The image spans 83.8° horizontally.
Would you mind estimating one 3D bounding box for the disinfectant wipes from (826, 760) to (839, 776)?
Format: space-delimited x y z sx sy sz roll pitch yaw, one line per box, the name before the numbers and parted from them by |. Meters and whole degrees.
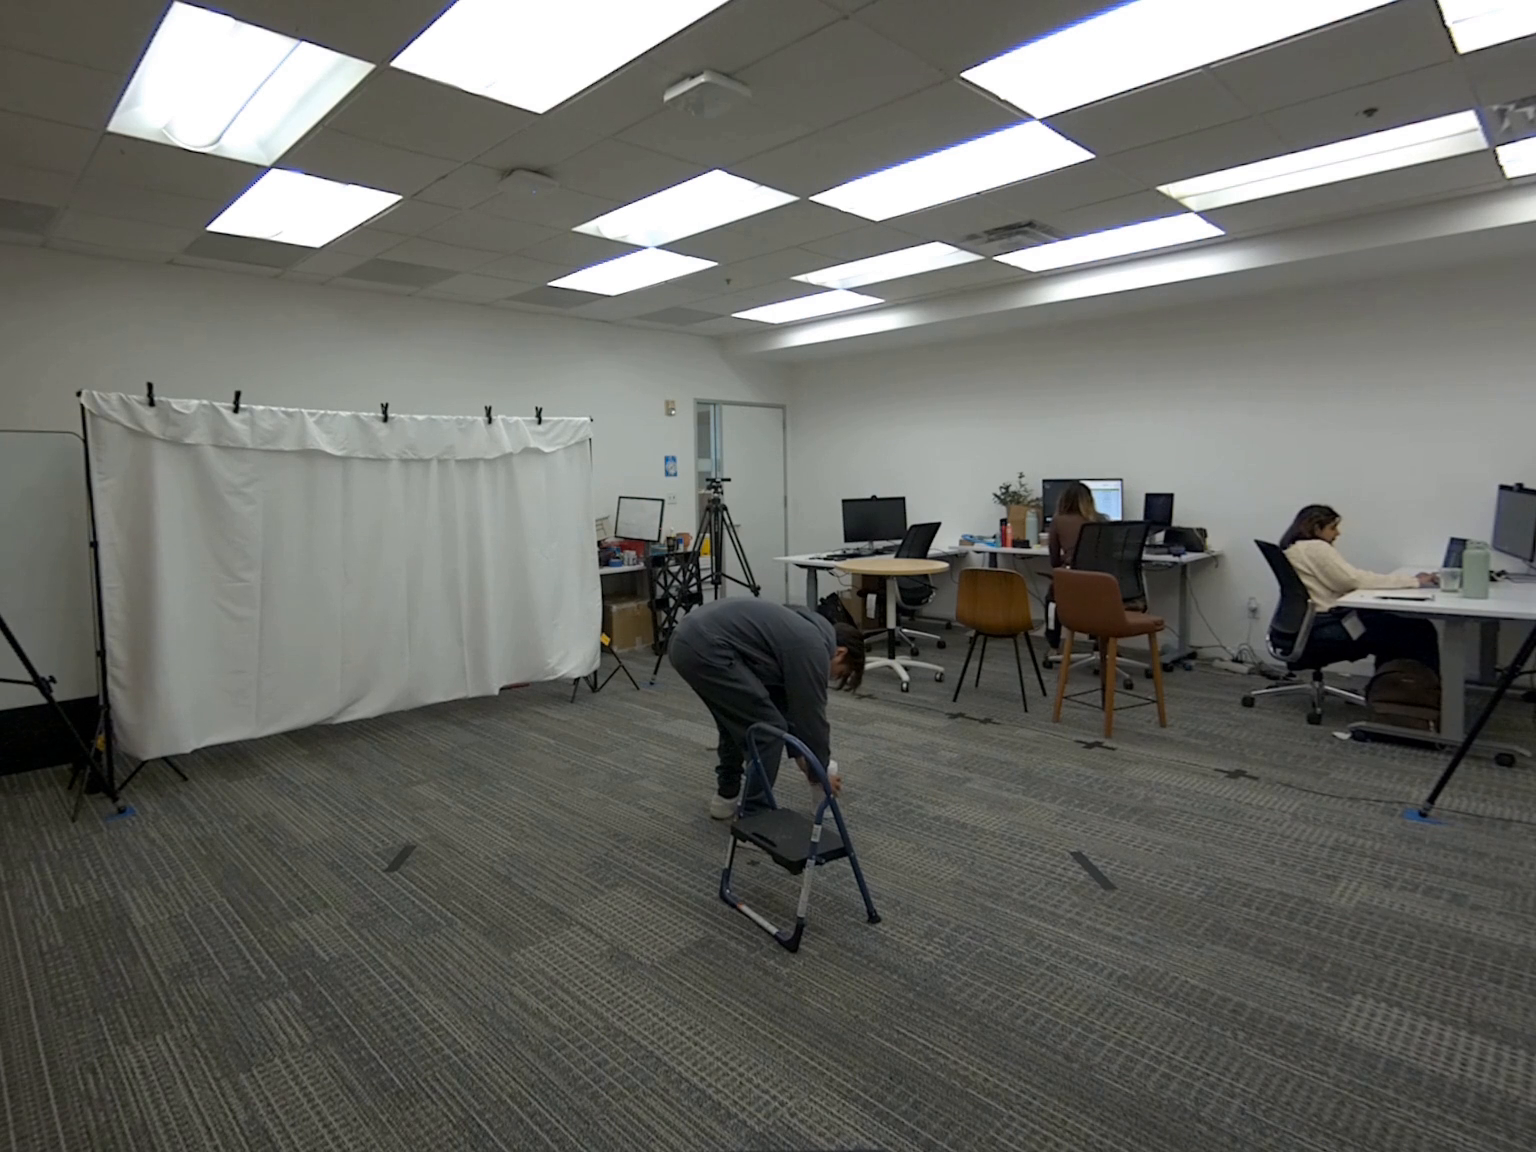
disinfectant wipes | 0.234 0.880 3.535 0.118 0.217 0.118 0 3 -2
